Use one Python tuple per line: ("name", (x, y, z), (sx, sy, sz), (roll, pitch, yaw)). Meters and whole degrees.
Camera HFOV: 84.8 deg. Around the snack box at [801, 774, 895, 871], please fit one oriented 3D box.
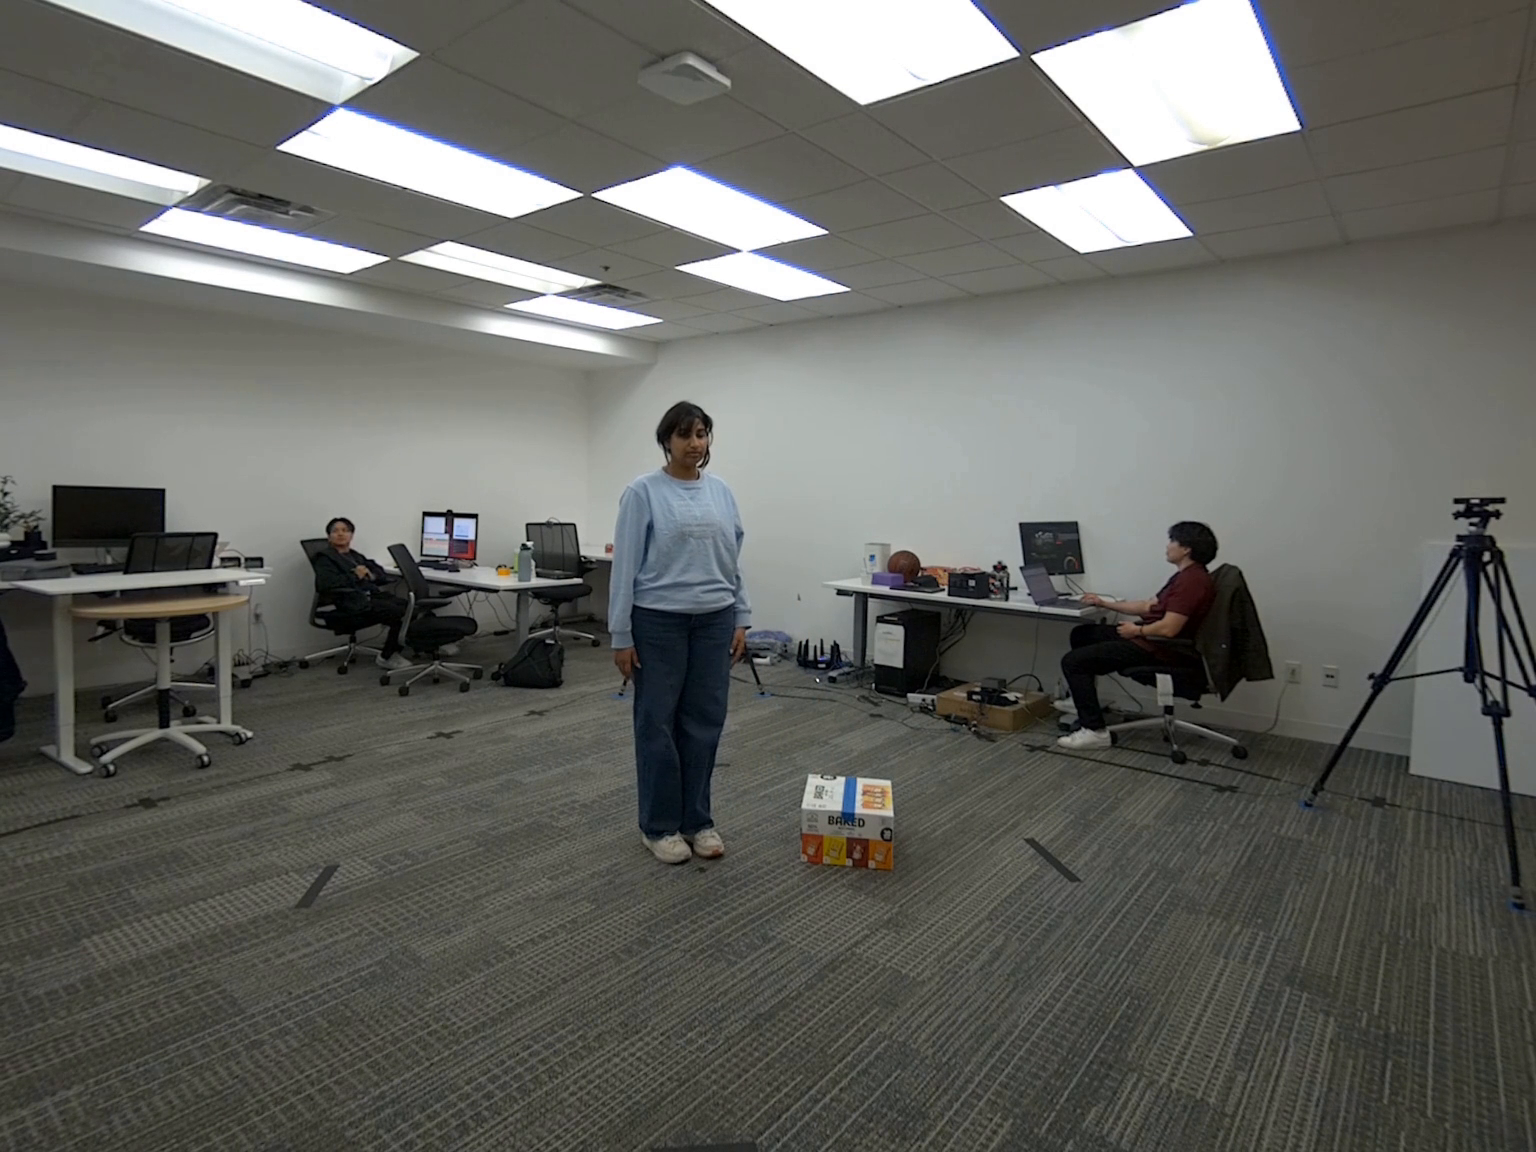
("snack box", (0.310, 0.960, 3.359), (0.344, 0.205, 0.403), (2, 6, 8))
